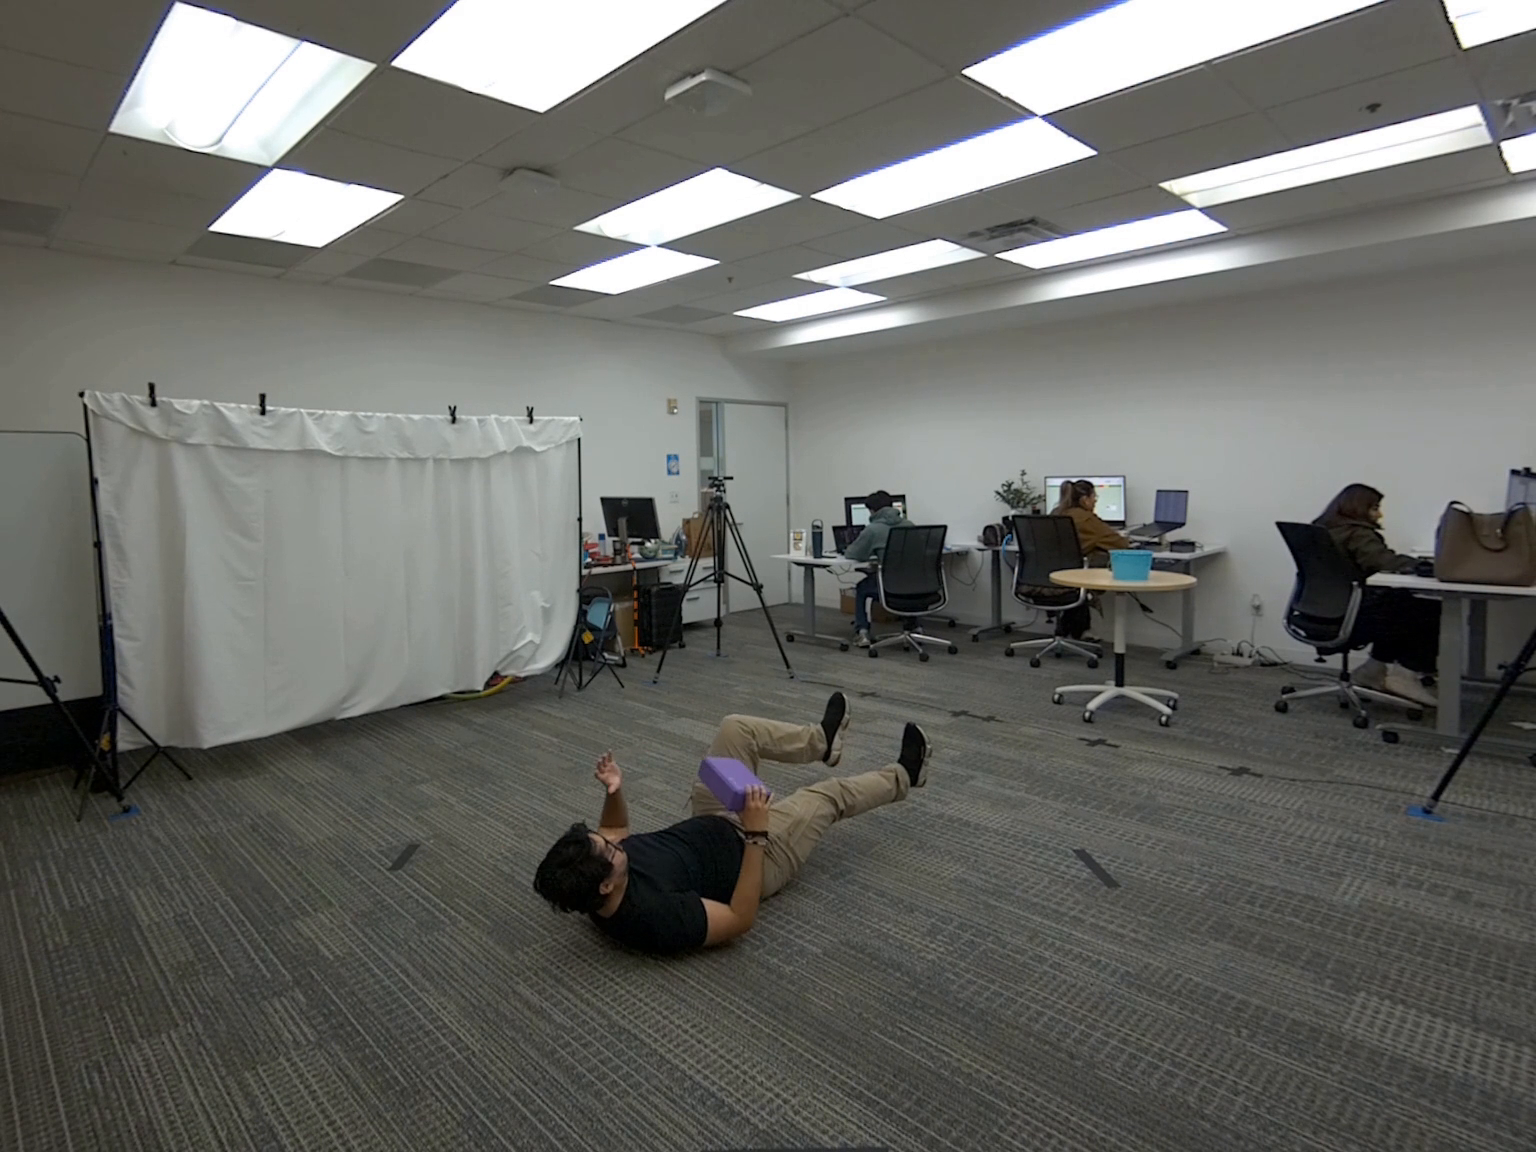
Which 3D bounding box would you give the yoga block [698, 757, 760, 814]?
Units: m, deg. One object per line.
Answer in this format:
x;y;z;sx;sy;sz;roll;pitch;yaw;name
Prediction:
-0.109;0.676;2.770;0.144;0.076;0.237;12;9;-33;yoga block
